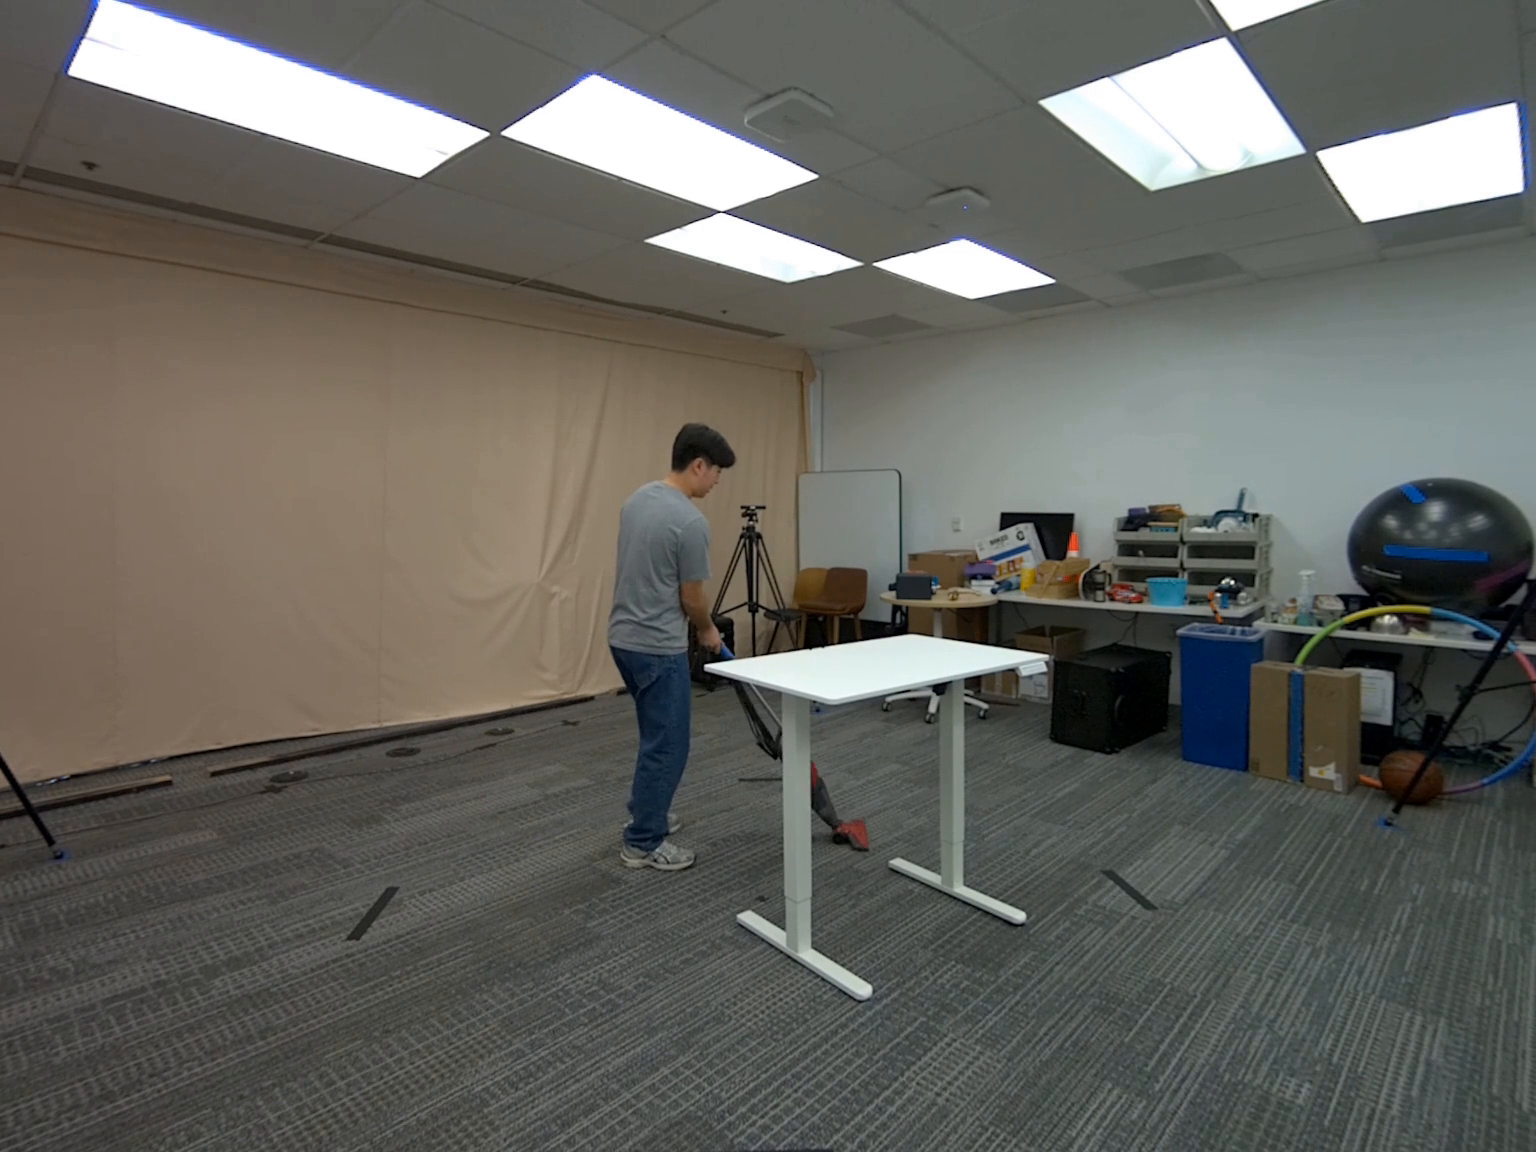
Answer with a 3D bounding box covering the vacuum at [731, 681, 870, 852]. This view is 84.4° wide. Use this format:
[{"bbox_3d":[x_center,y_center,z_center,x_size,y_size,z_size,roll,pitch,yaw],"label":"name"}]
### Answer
[{"bbox_3d":[0.044,0.669,3.500,0.144,1.048,0.252,-37,1,4],"label":"vacuum"}]
